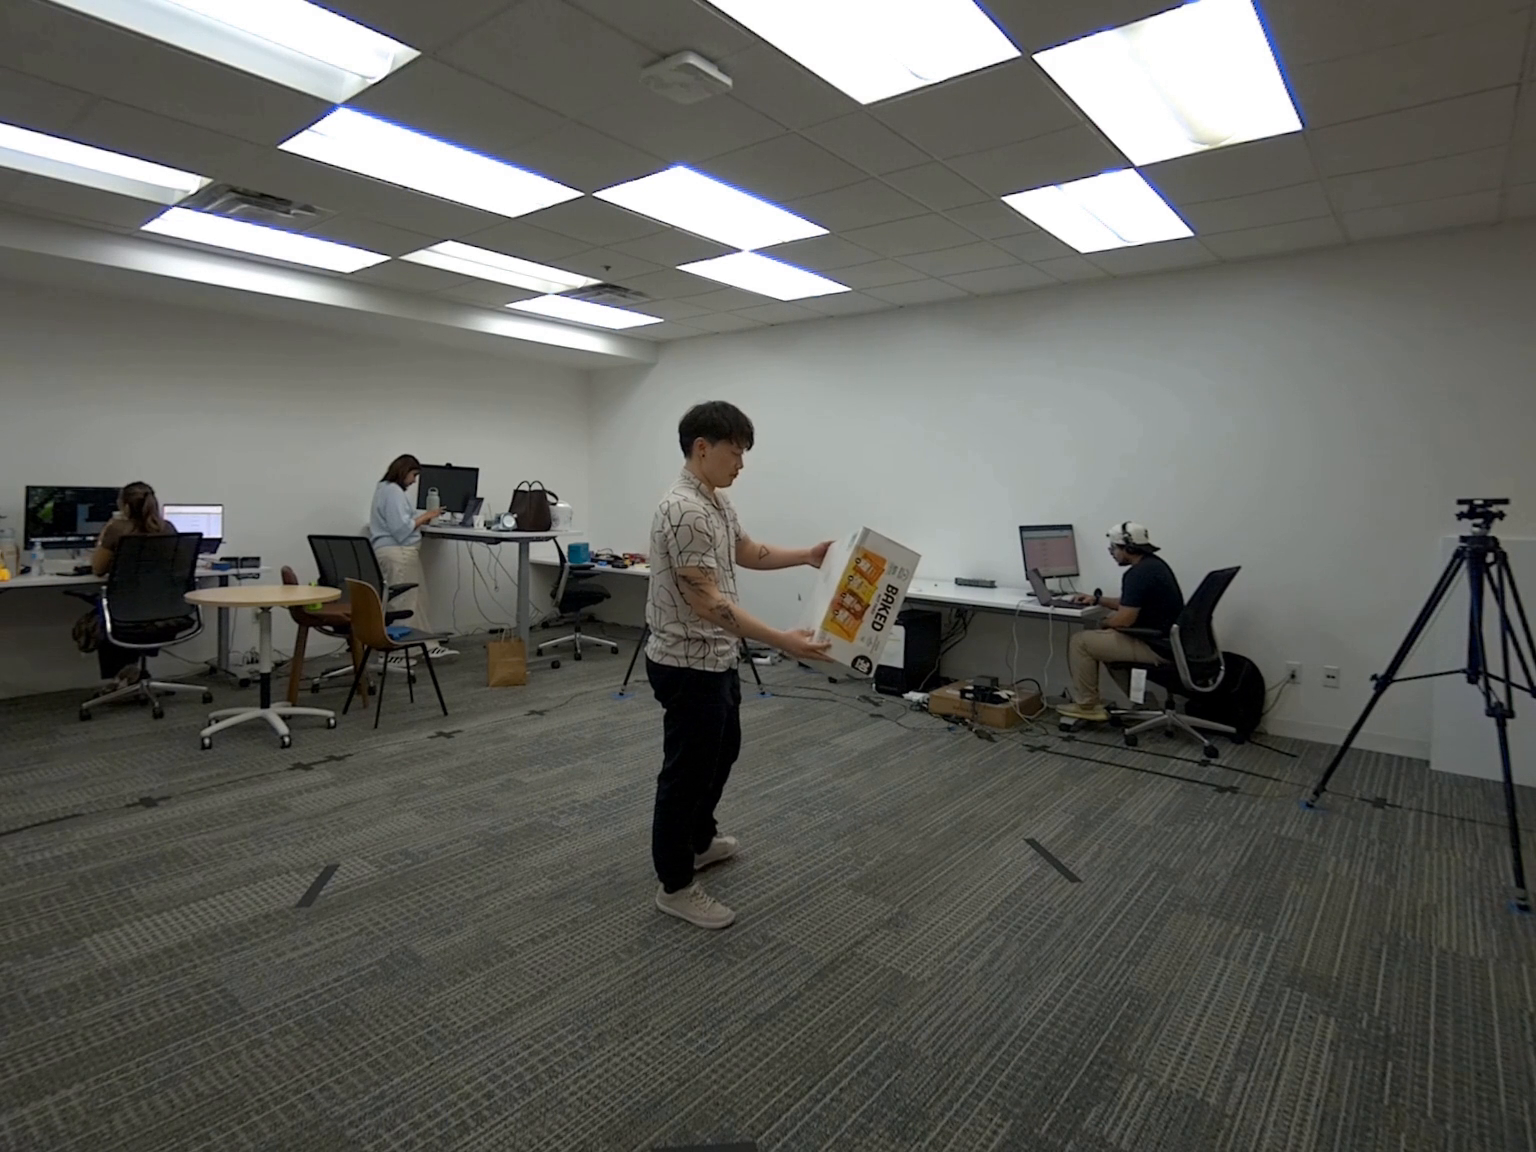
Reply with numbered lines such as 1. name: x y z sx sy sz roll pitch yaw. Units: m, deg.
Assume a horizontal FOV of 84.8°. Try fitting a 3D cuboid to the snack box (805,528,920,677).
1. snack box: 0.249 0.091 2.670 0.204 0.407 0.341 26 -12 -8
